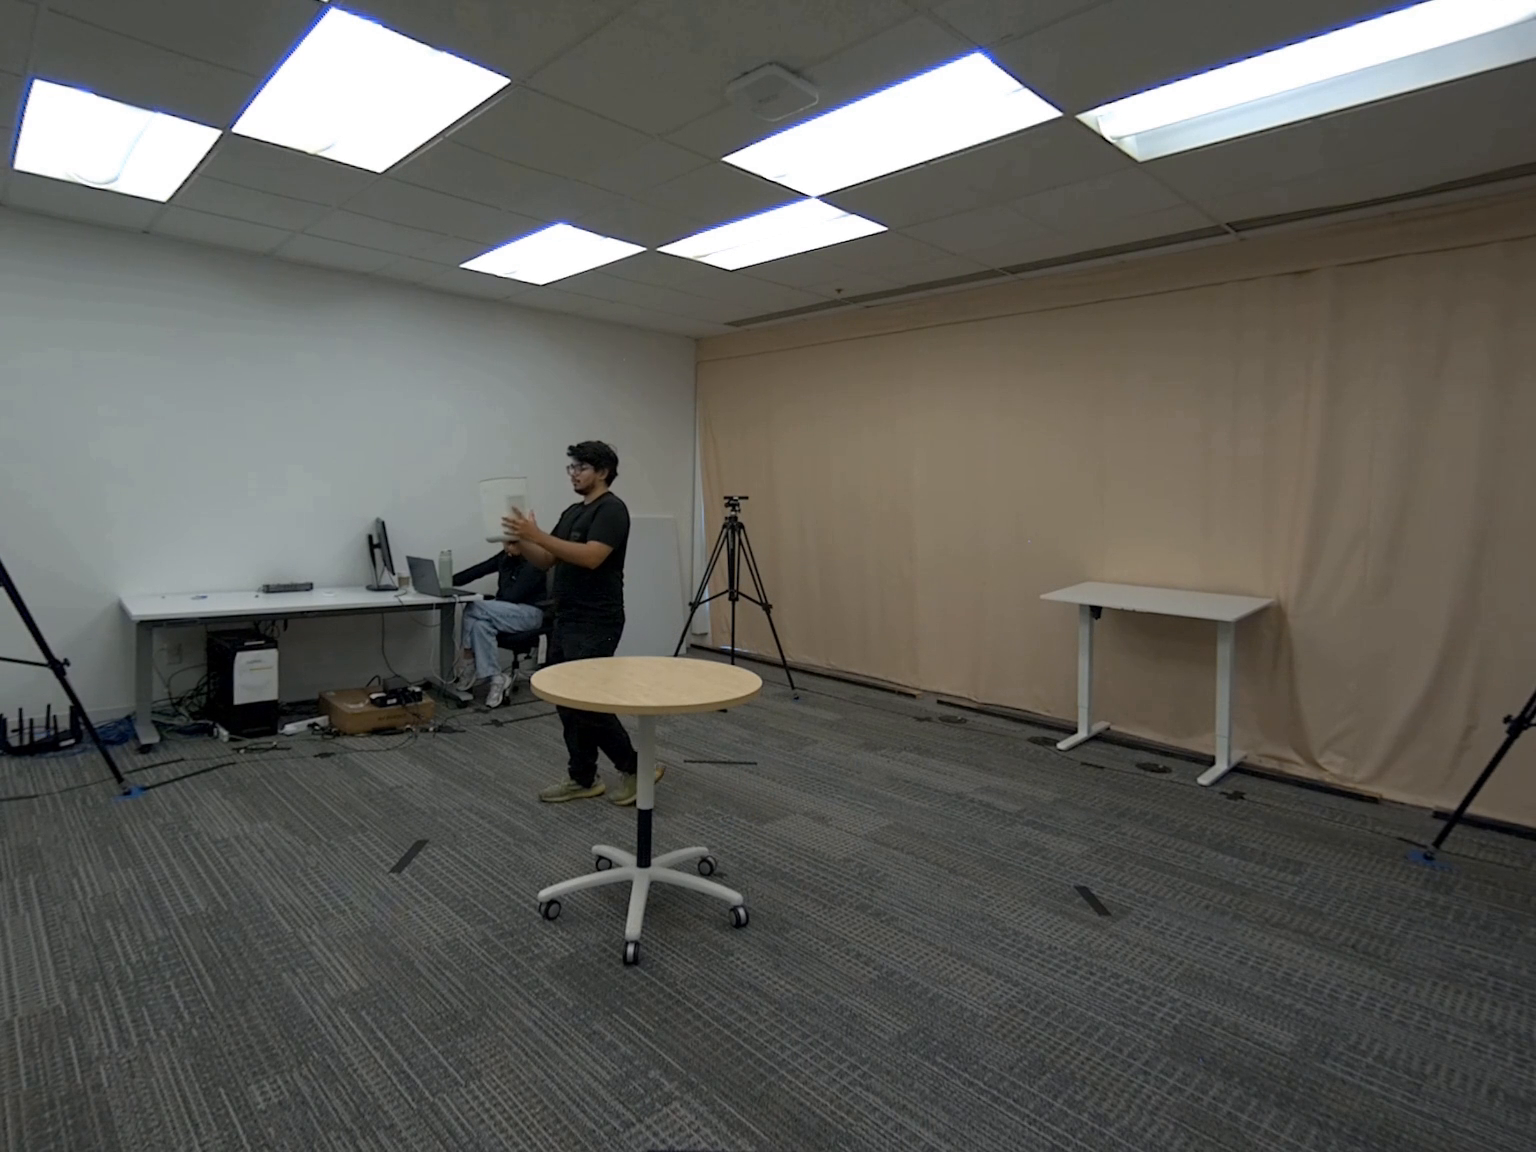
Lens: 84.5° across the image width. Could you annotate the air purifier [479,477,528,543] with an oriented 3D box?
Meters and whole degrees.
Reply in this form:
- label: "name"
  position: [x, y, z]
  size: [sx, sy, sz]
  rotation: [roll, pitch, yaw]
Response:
- label: "air purifier"
  position: [-1.125, -0.286, 3.584]
  size: [0.175, 0.265, 0.168]
  rotation: [-3, 3, 38]
